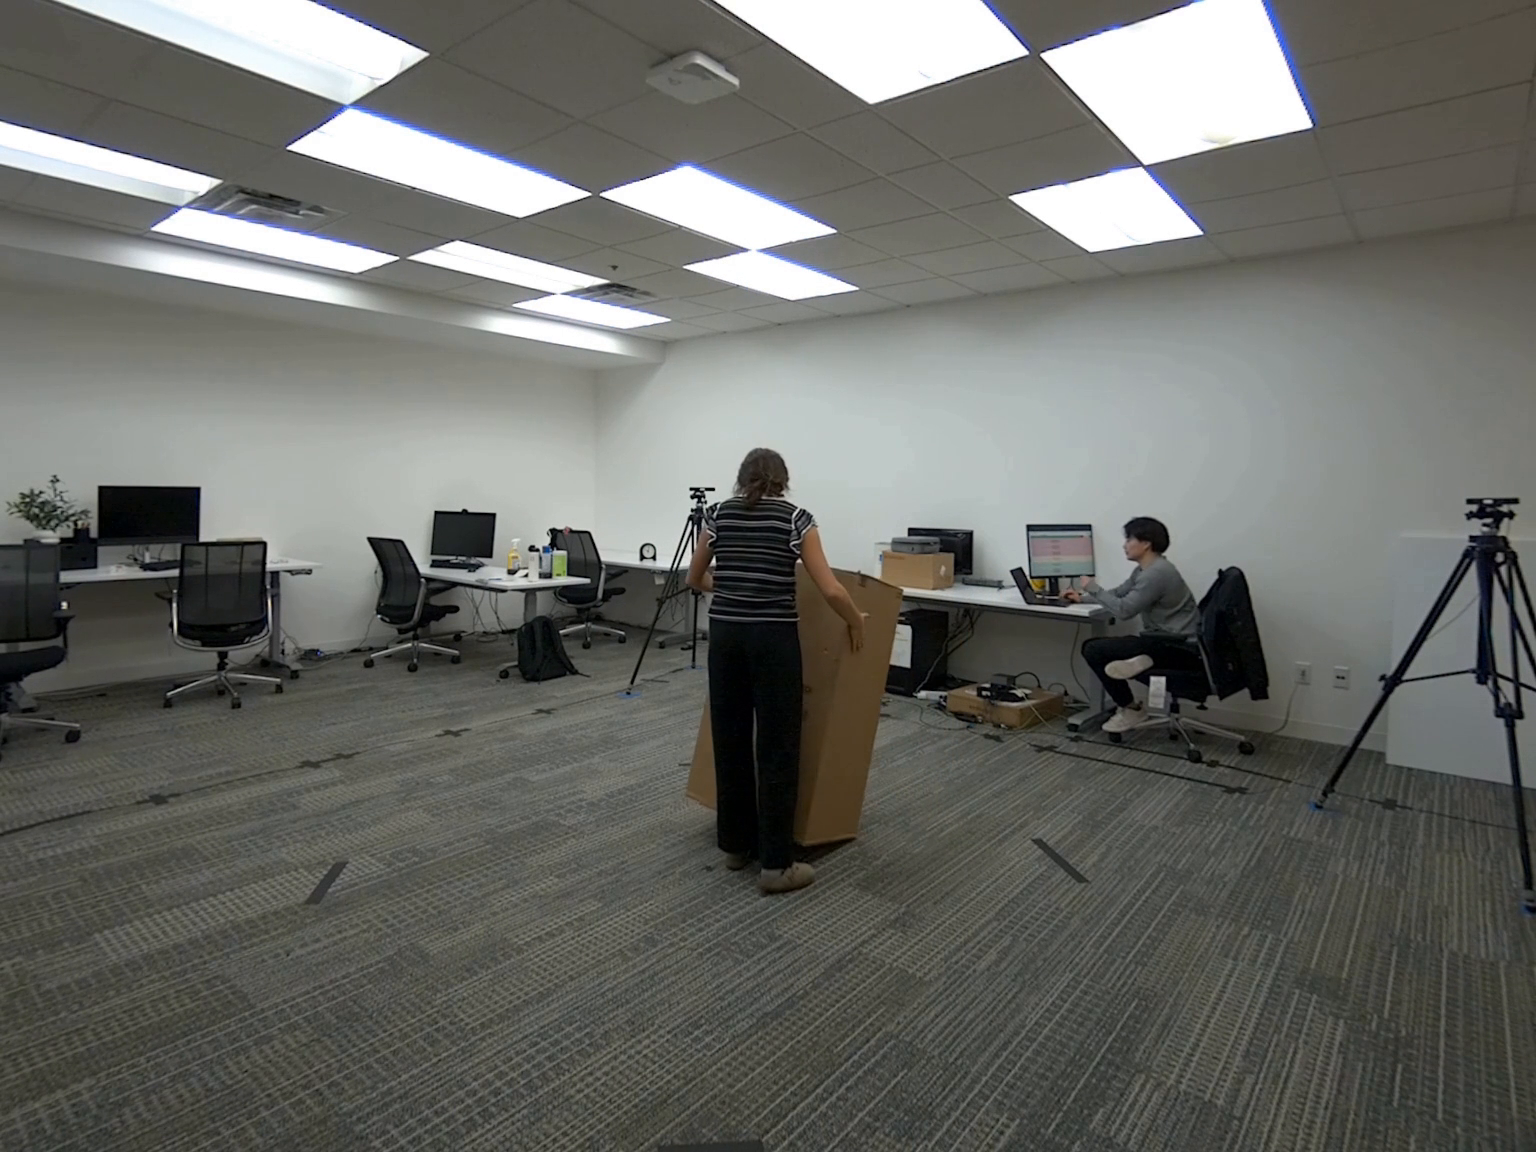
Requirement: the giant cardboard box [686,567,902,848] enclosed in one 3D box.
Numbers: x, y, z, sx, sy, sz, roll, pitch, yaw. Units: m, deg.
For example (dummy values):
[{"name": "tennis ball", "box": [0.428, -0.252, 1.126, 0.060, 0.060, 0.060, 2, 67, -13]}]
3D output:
[{"name": "giant cardboard box", "box": [0.111, 0.480, 3.474, 0.597, 1.030, 0.410, 8, -7, 35]}]
